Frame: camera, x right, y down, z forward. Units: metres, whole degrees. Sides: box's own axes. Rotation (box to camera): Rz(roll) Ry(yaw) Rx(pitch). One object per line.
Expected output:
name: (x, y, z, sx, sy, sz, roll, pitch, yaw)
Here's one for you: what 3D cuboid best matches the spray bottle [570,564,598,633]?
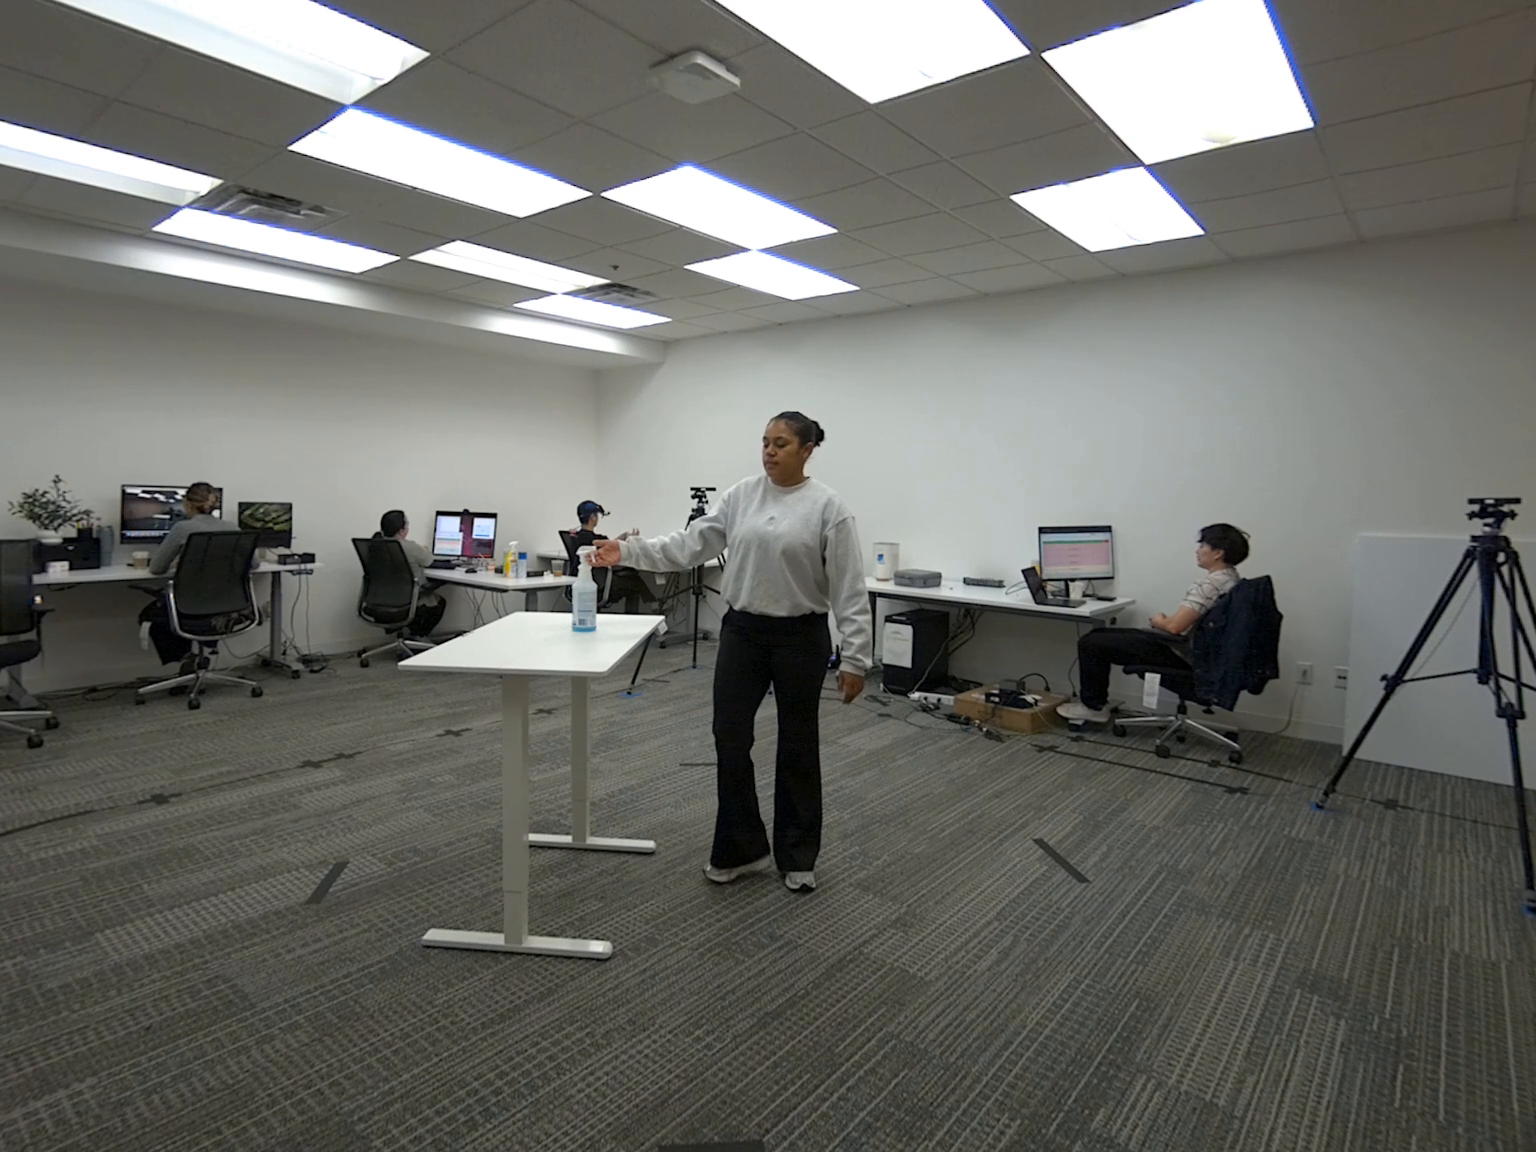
spray bottle: (-0.654, 0.040, 2.987, 0.085, 0.296, 0.093, 0, 5, -28)
